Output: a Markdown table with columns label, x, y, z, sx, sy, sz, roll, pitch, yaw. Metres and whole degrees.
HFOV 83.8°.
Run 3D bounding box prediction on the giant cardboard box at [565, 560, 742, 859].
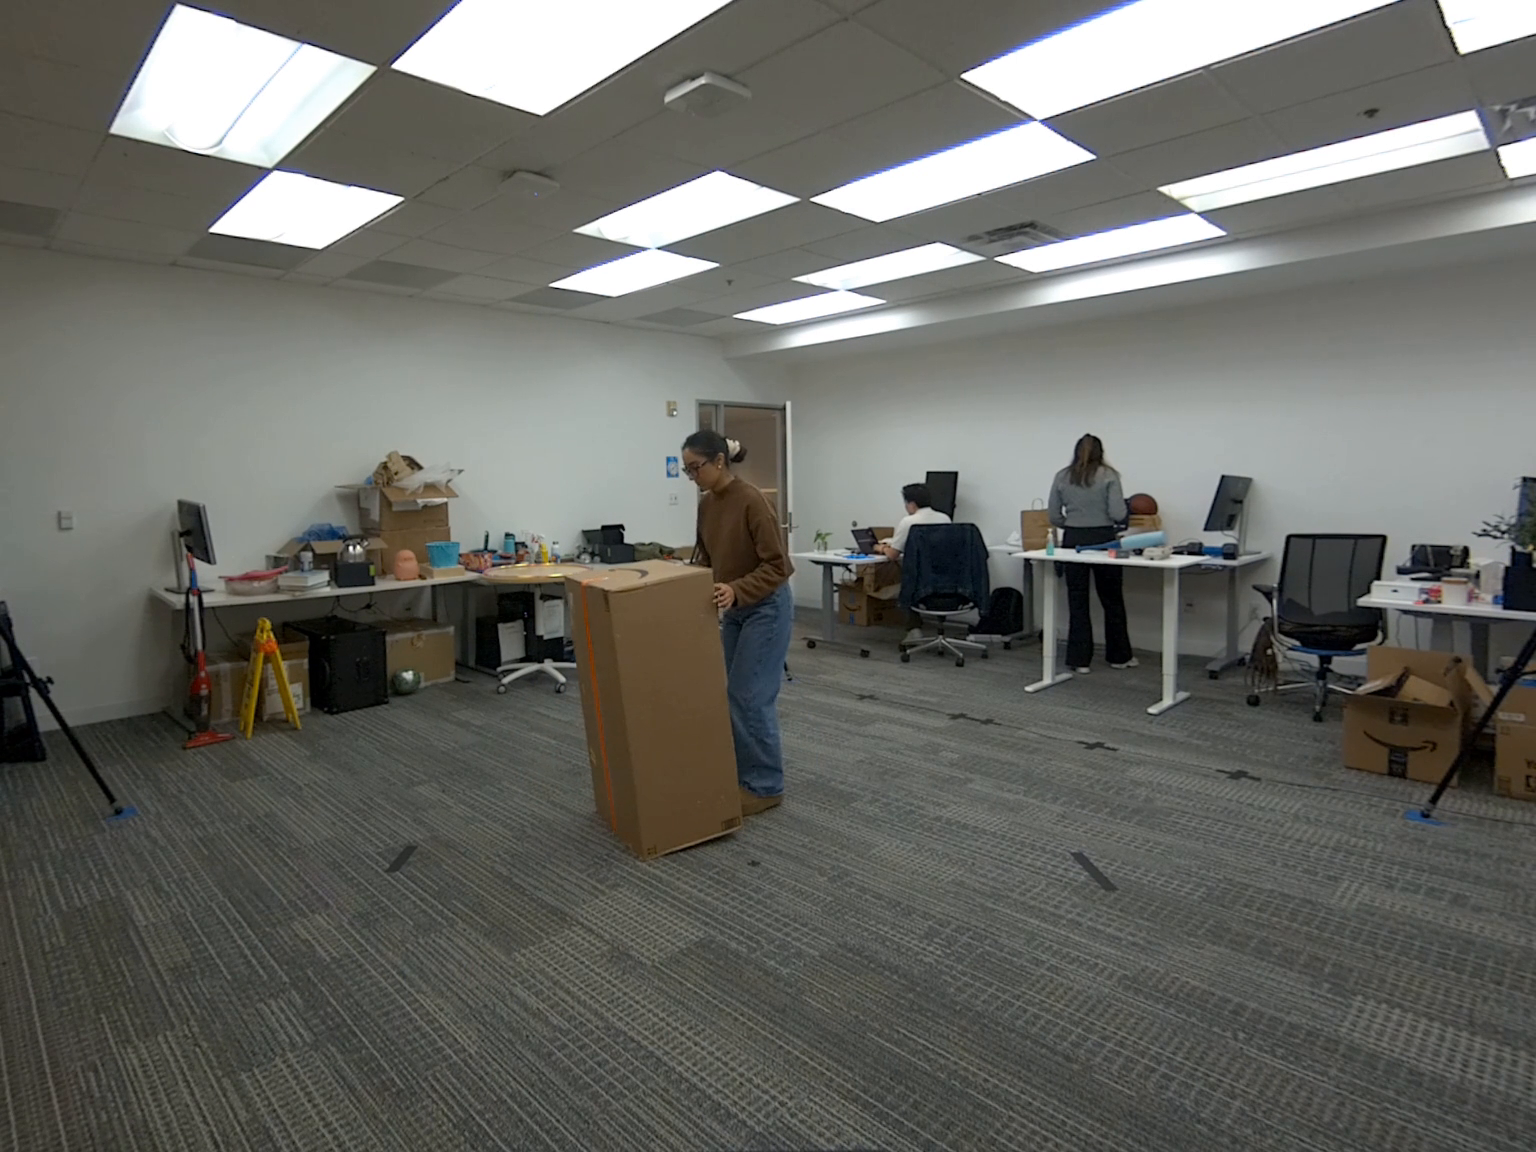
| label | x | y | z | sx | sy | sz | roll | pitch | yaw |
| --- | --- | --- | --- | --- | --- | --- | --- | --- | --- |
| giant cardboard box | -0.477 | 0.492 | 3.424 | 0.418 | 1.019 | 0.593 | -10 | 8 | -28 |
